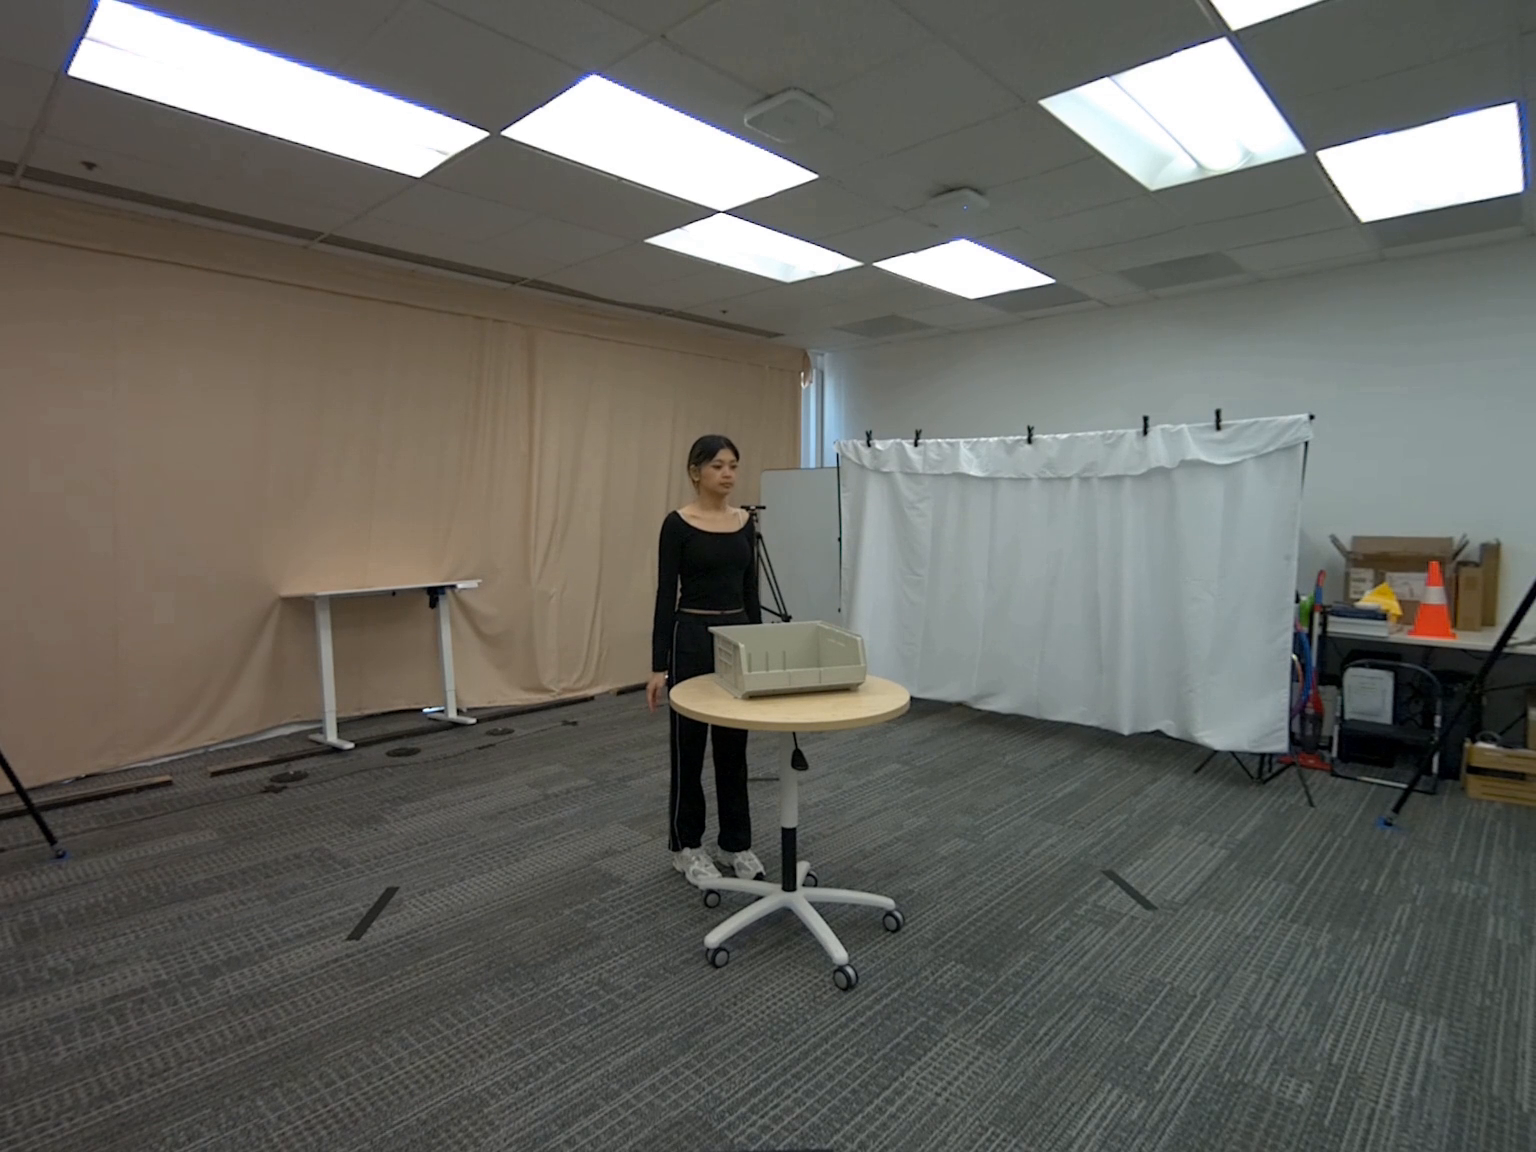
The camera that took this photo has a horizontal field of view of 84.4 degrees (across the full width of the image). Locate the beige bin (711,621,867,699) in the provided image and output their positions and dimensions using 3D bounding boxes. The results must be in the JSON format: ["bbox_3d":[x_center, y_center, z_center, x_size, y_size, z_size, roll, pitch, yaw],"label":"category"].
[{"bbox_3d":[0.061,0.277,2.795,0.415,0.188,0.385,-2,5,-18],"label":"beige bin"}]
